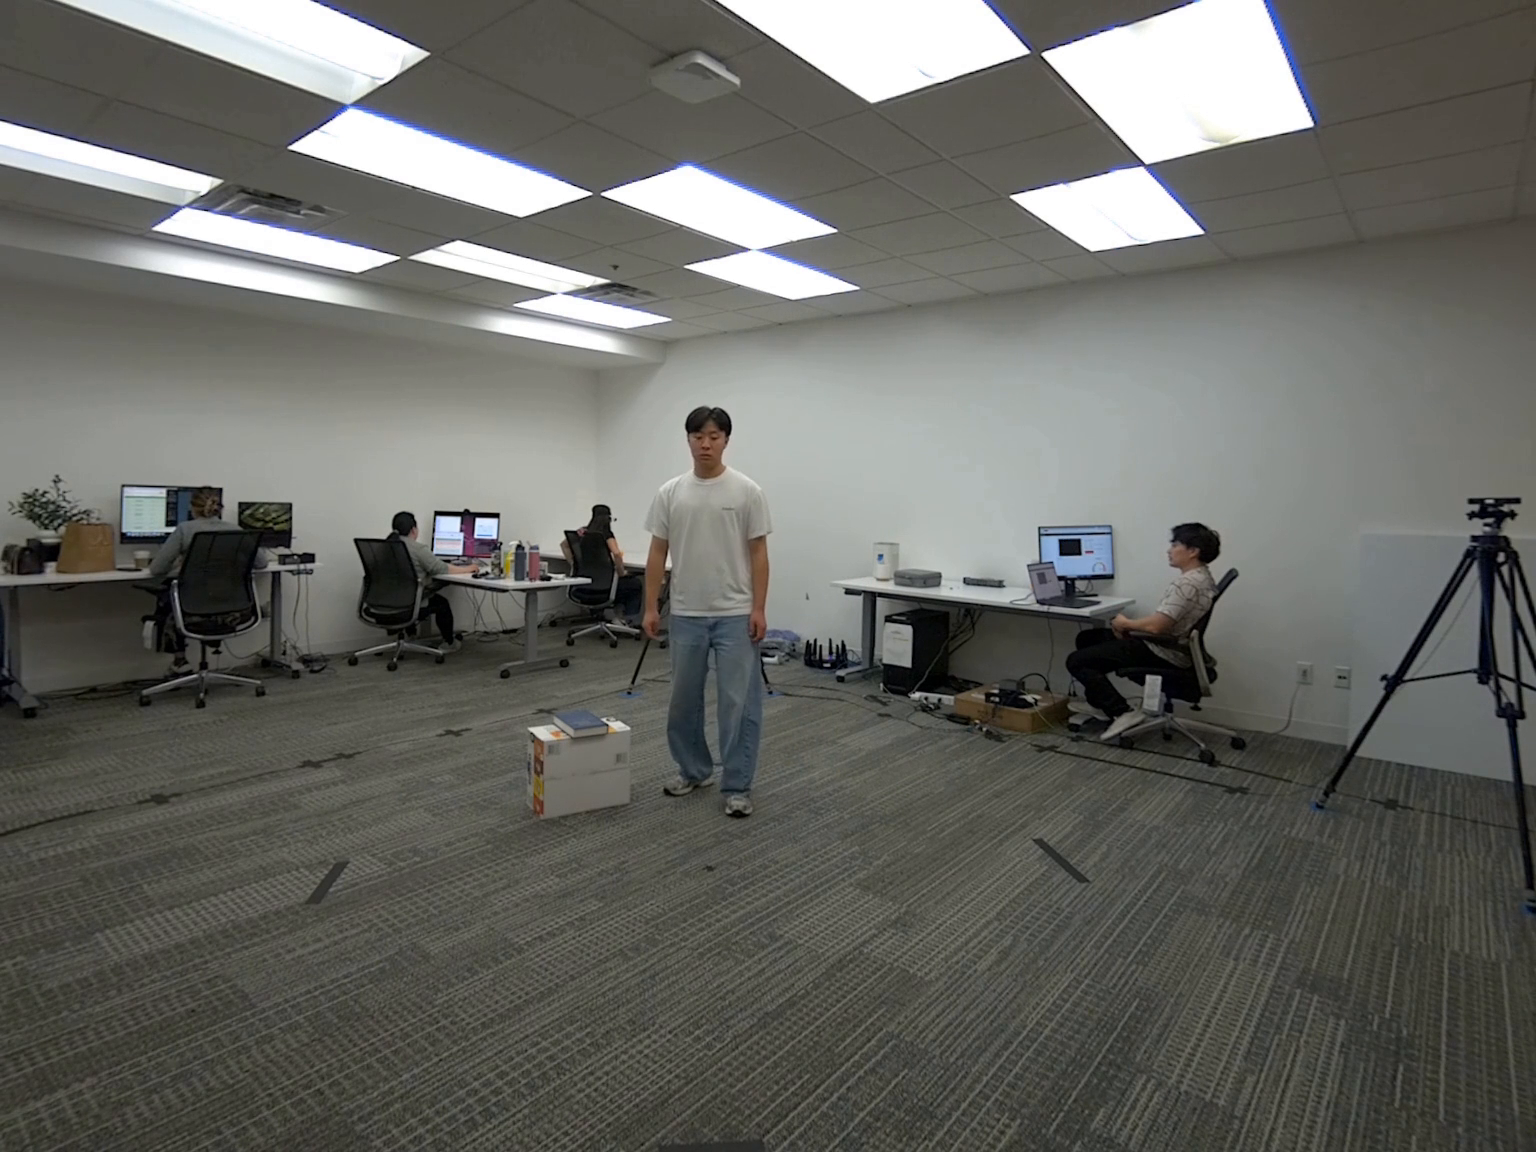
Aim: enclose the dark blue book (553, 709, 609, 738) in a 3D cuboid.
[{"bbox_3d":[-0.842,0.643,3.703,0.159,0.045,0.253,-2,8,-34],"label":"dark blue book"}]
